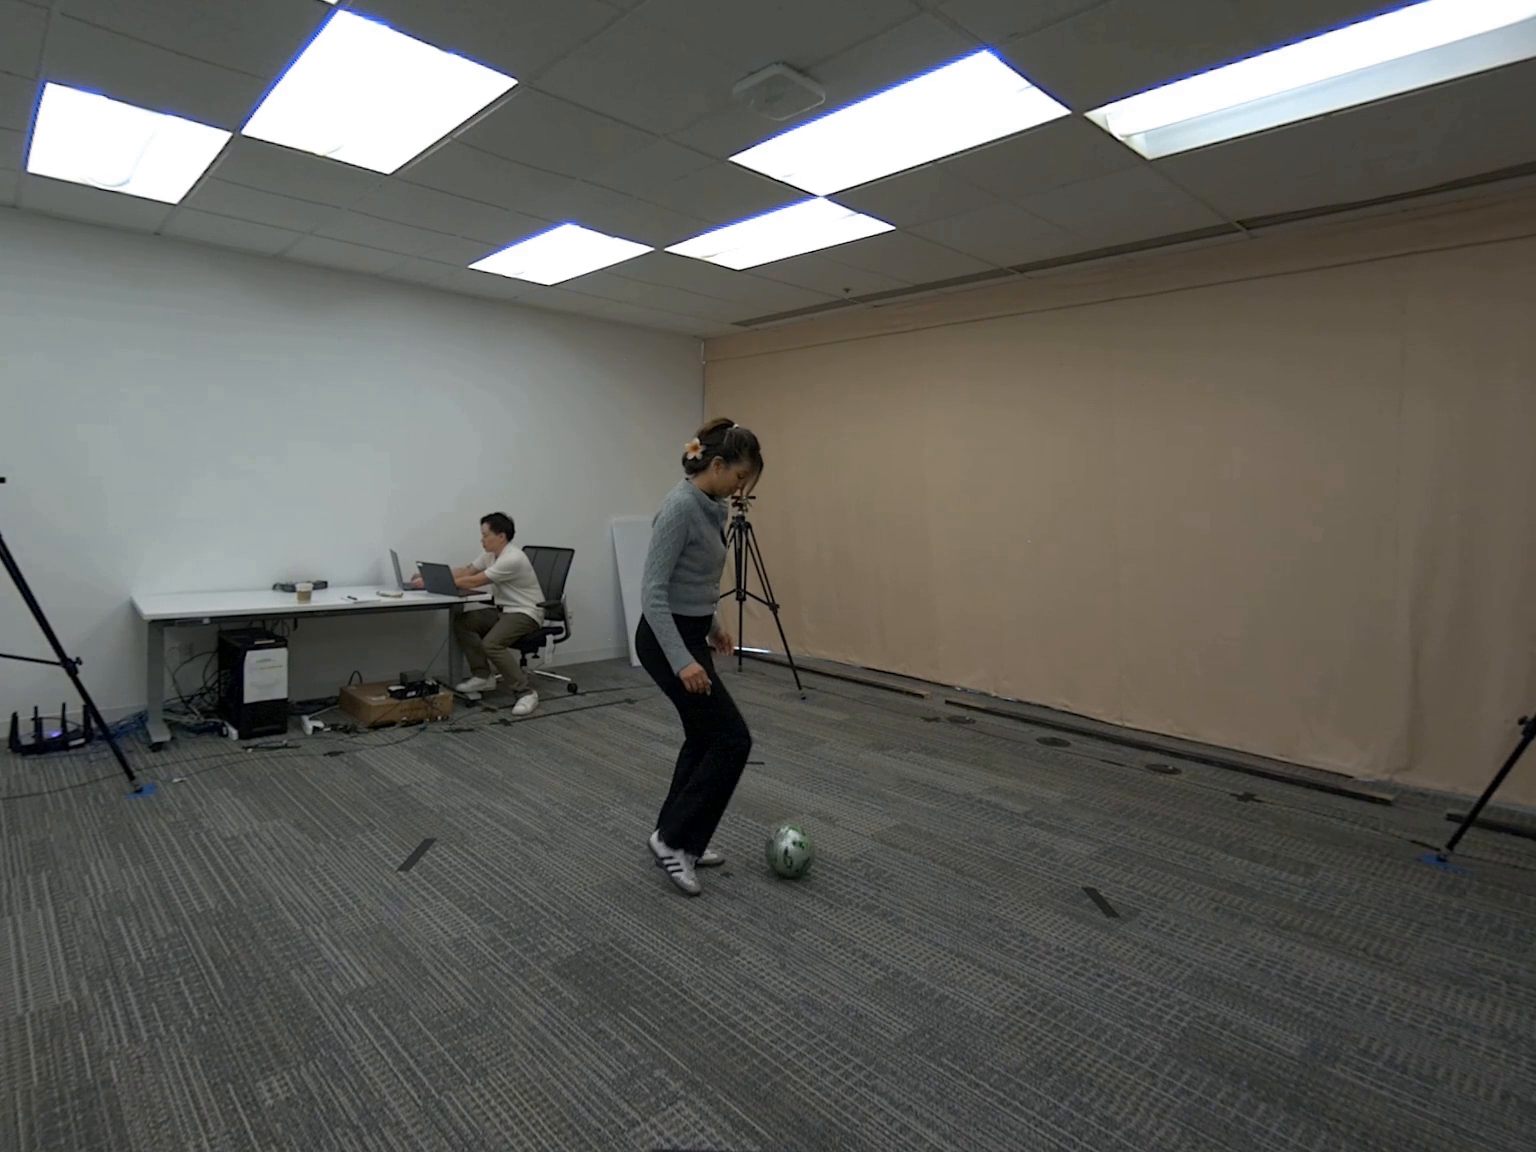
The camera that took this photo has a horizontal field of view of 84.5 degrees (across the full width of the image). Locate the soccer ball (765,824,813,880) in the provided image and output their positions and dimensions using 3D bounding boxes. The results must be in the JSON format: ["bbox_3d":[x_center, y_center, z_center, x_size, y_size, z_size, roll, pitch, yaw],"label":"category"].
[{"bbox_3d":[0.075,1.009,3.105,0.187,0.187,0.188,1,4,-1],"label":"soccer ball"}]
